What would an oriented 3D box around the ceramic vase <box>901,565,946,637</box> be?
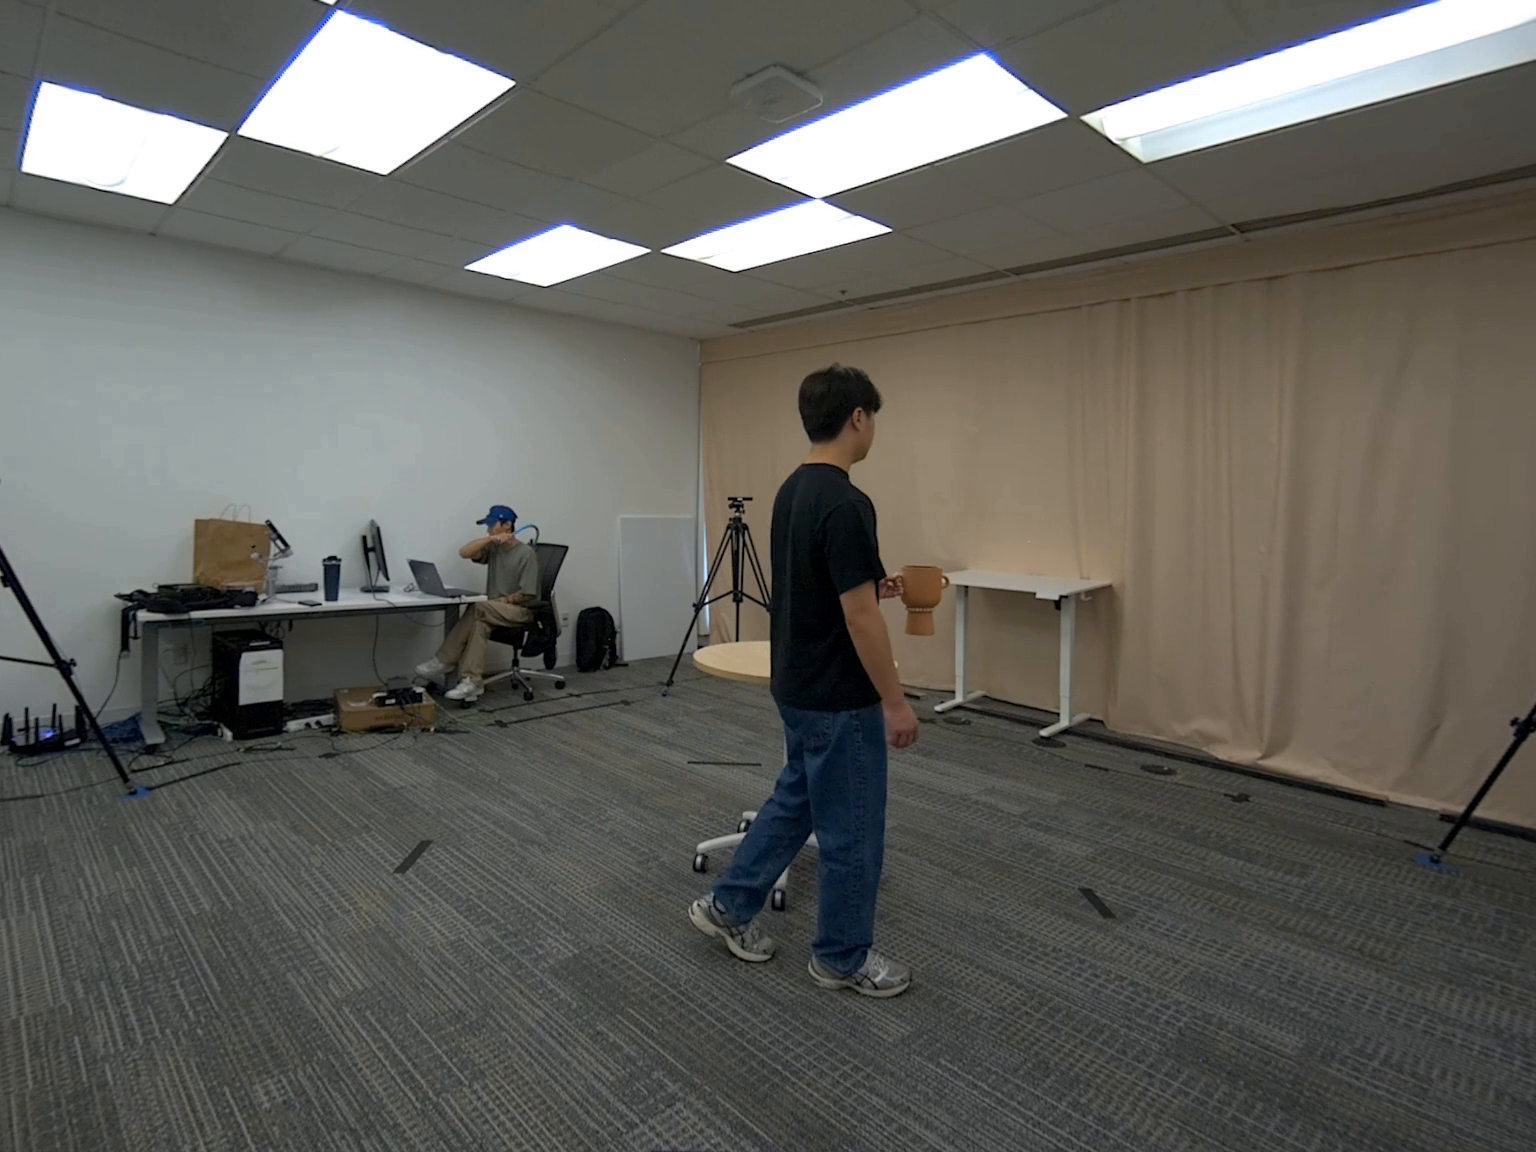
[{"bbox_3d":[0.491,0.079,2.755,0.162,0.219,0.132,3,1,26],"label":"ceramic vase"}]
